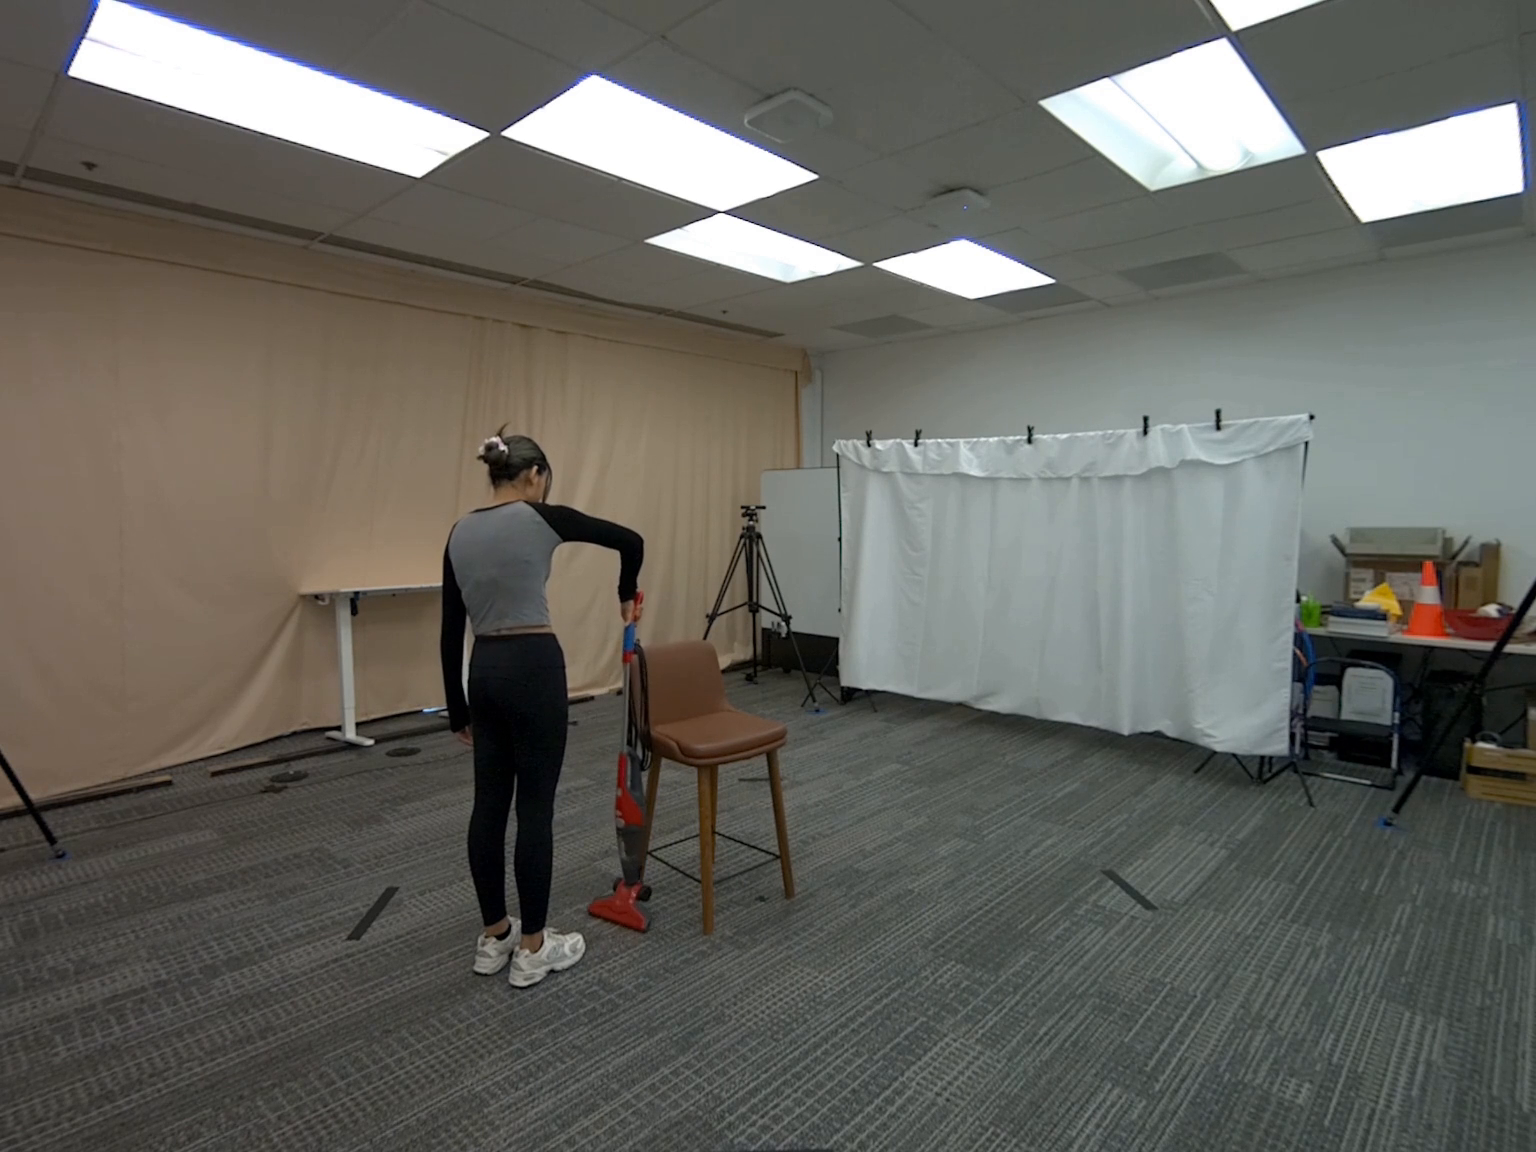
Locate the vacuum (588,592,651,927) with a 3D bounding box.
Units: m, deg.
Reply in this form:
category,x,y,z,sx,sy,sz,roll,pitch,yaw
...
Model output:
category,x,y,z,sx,sy,sz,roll,pitch,yaw
vacuum,-0.470,0.587,2.849,0.245,1.047,0.148,1,5,-32
